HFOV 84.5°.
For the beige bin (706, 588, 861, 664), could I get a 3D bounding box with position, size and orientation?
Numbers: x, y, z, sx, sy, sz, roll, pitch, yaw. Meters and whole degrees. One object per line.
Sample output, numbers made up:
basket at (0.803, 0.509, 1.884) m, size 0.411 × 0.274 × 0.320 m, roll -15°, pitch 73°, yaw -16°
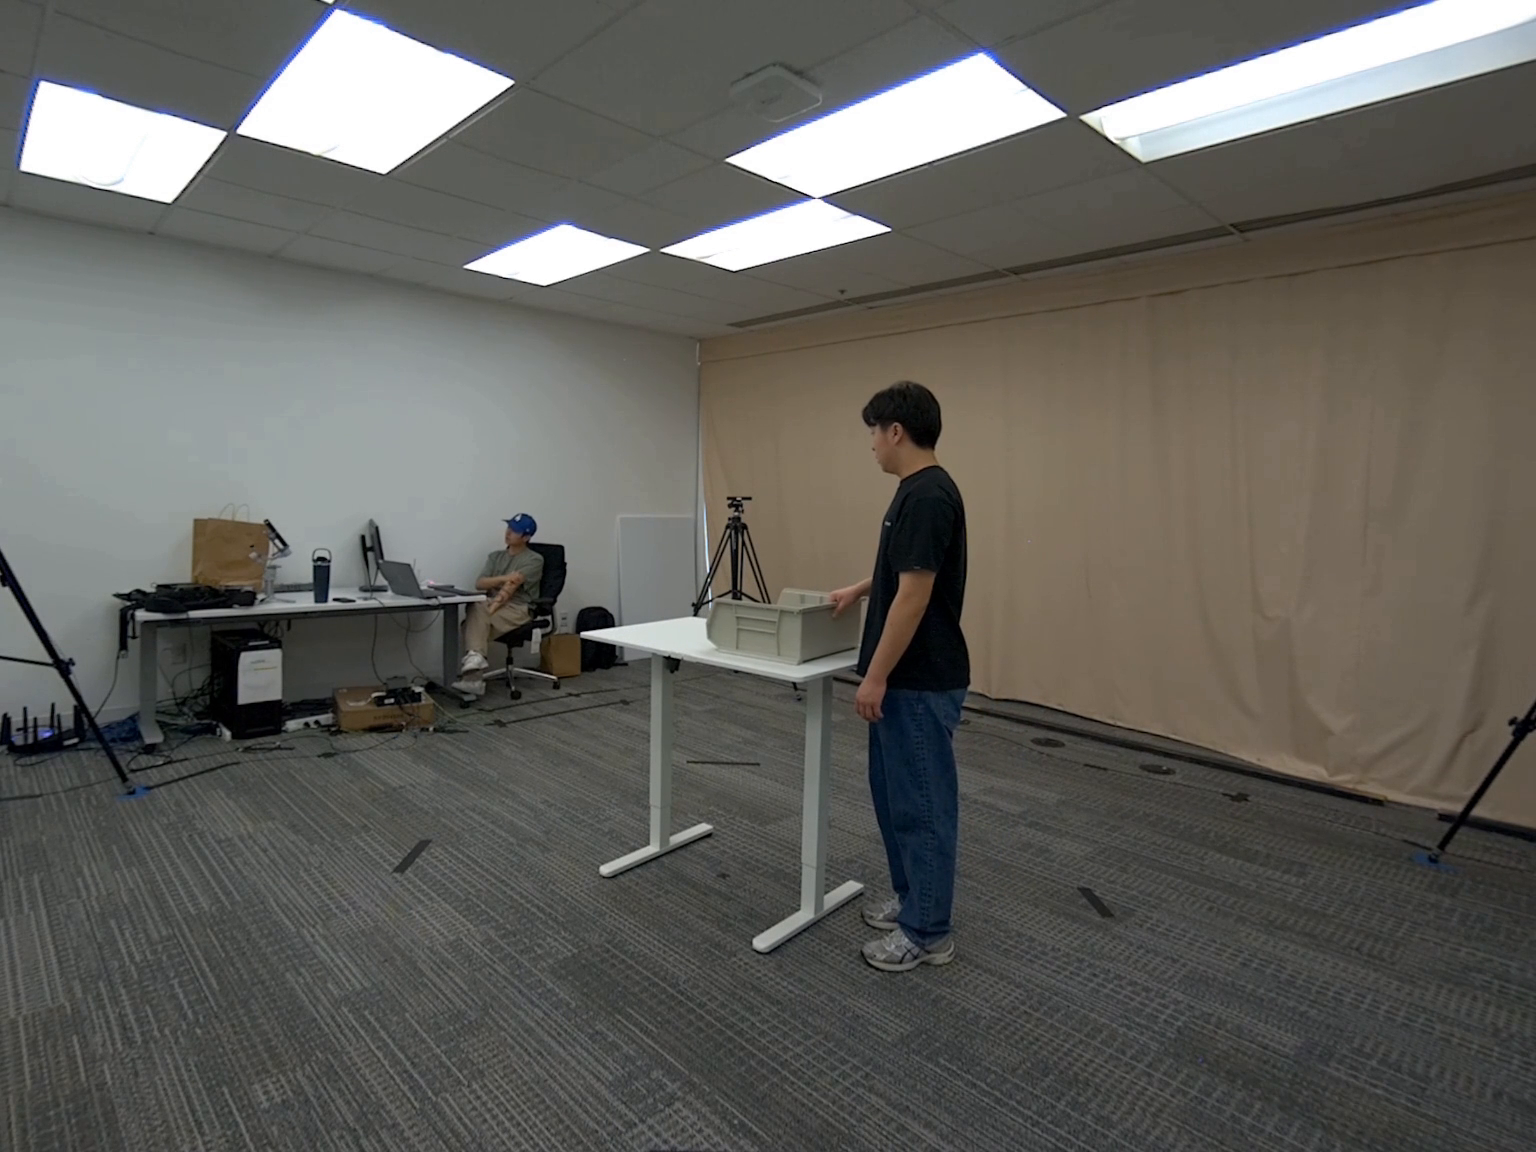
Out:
beige bin at (0.061, 0.166, 2.866) m, size 0.387 × 0.188 × 0.413 m, roll 6°, pitch 6°, yaw 36°
